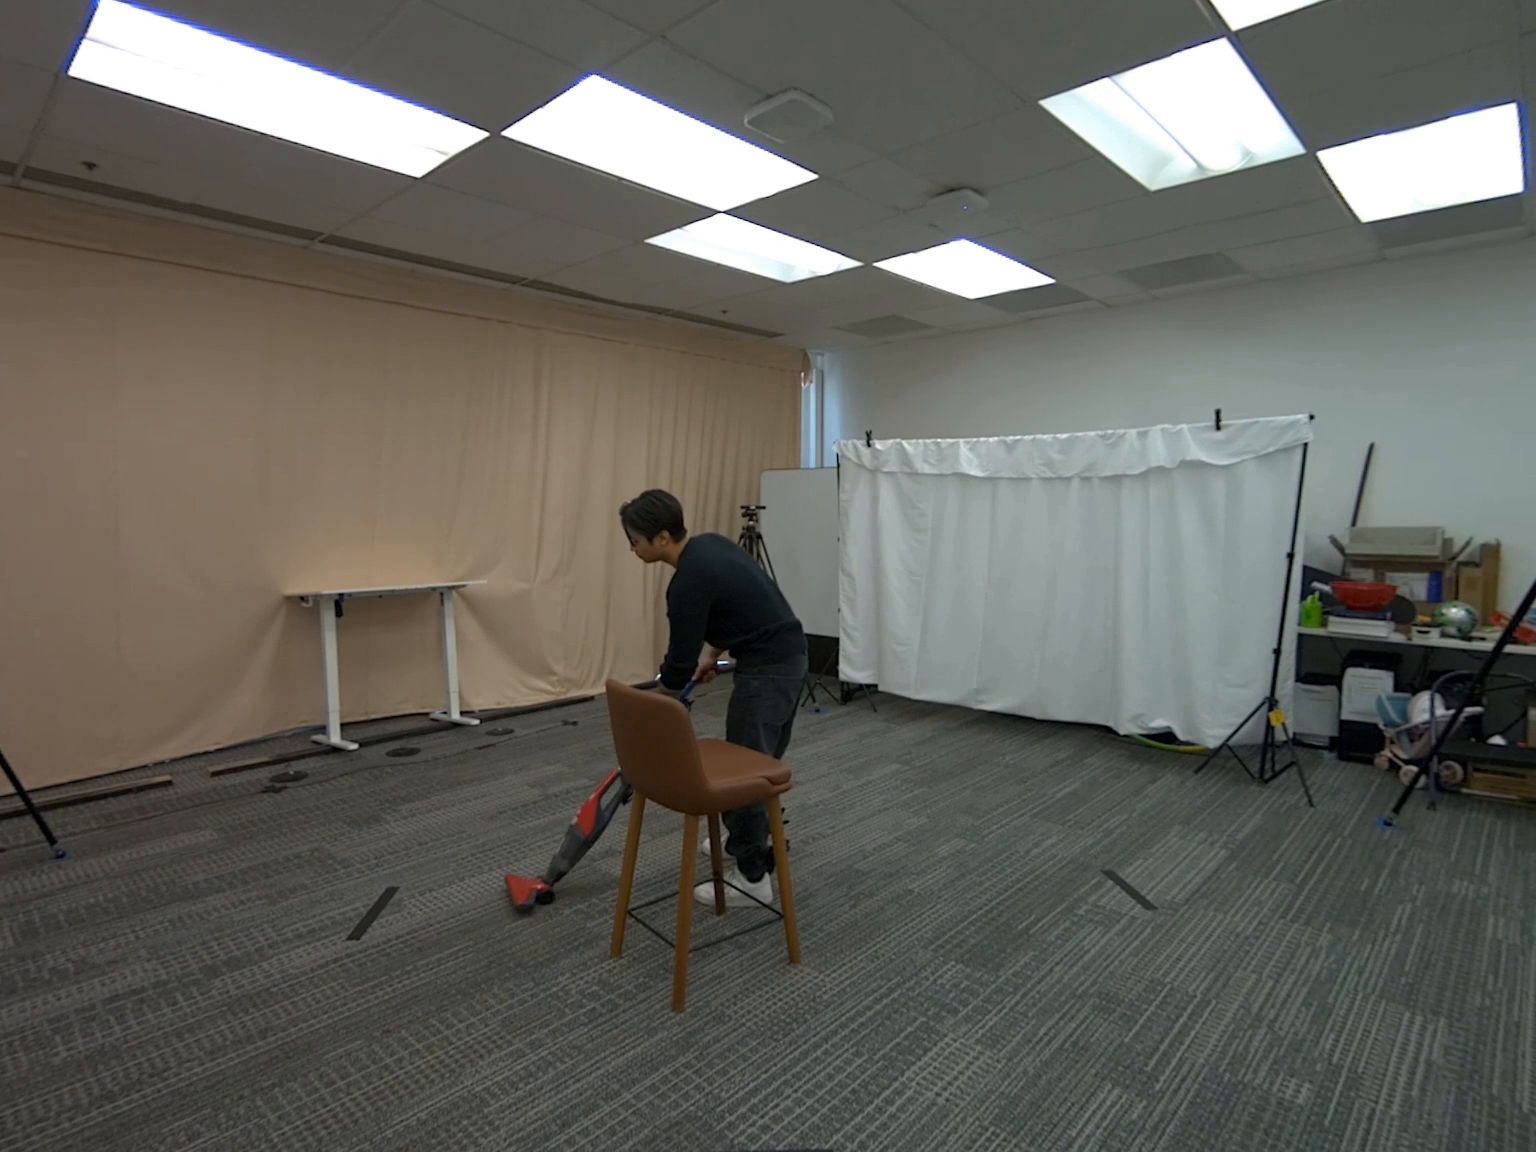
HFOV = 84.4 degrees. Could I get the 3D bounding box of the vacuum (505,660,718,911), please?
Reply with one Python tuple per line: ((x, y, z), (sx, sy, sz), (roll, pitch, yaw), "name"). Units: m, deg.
((-0.533, 0.750, 3.121), (0.141, 1.046, 0.259), (46, -17, -22), "vacuum")
